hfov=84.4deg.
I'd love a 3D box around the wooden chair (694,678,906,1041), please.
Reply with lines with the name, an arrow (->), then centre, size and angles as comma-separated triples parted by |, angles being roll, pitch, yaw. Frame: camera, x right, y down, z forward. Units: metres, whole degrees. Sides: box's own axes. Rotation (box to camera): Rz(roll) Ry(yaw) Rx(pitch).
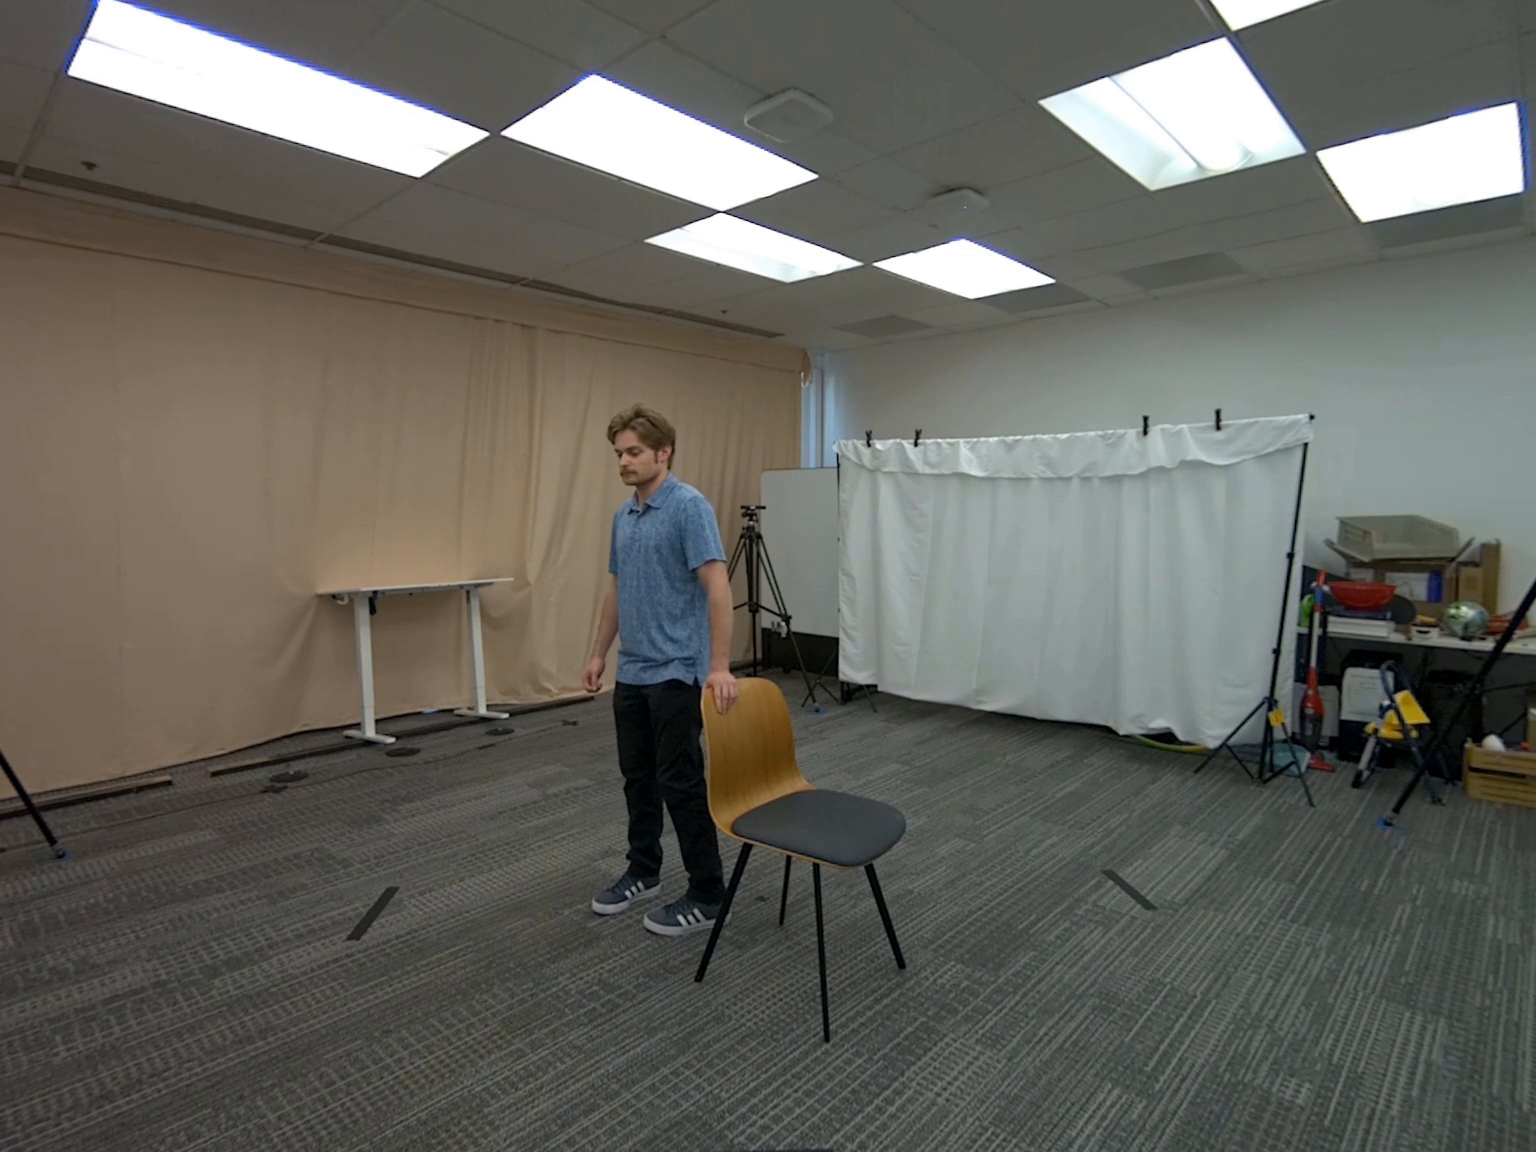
wooden chair -> 0.113, 0.757, 2.465 | 0.539, 0.877, 0.464 | -3, 0, 37
